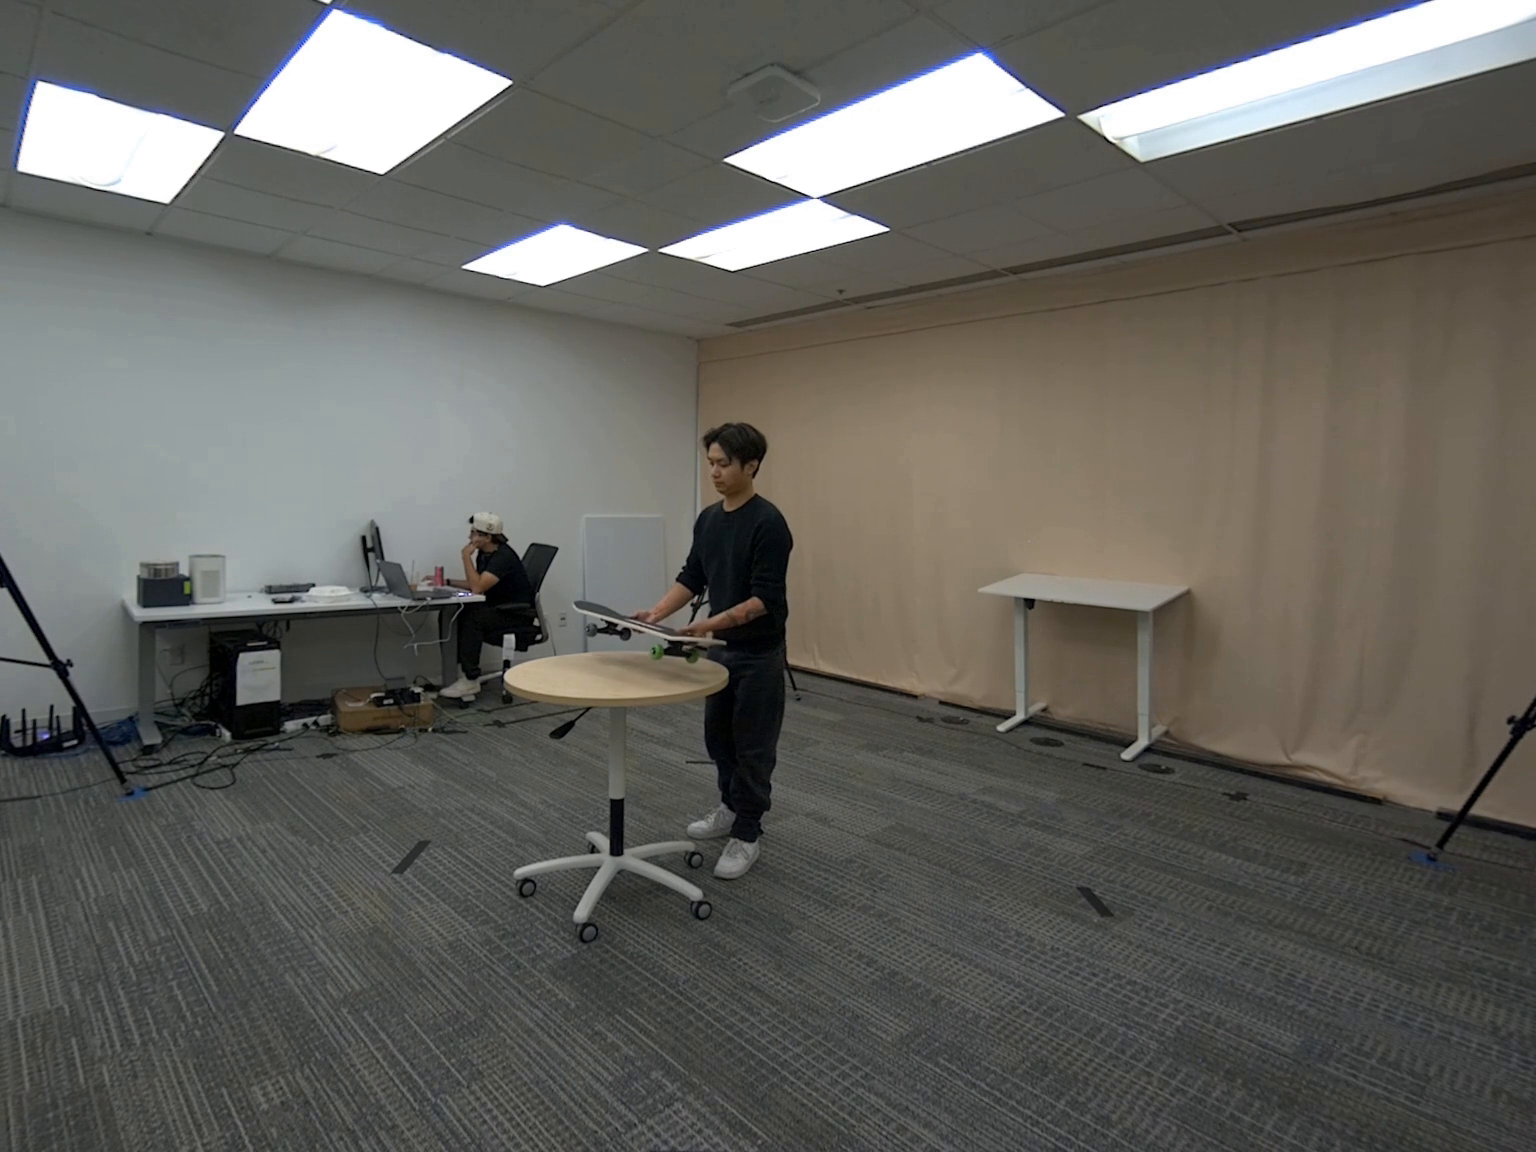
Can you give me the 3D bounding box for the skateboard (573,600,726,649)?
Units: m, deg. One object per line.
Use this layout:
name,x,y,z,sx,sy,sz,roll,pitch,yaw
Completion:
skateboard,-0.443,0.211,2.966,0.188,0.110,0.807,14,-2,-42
